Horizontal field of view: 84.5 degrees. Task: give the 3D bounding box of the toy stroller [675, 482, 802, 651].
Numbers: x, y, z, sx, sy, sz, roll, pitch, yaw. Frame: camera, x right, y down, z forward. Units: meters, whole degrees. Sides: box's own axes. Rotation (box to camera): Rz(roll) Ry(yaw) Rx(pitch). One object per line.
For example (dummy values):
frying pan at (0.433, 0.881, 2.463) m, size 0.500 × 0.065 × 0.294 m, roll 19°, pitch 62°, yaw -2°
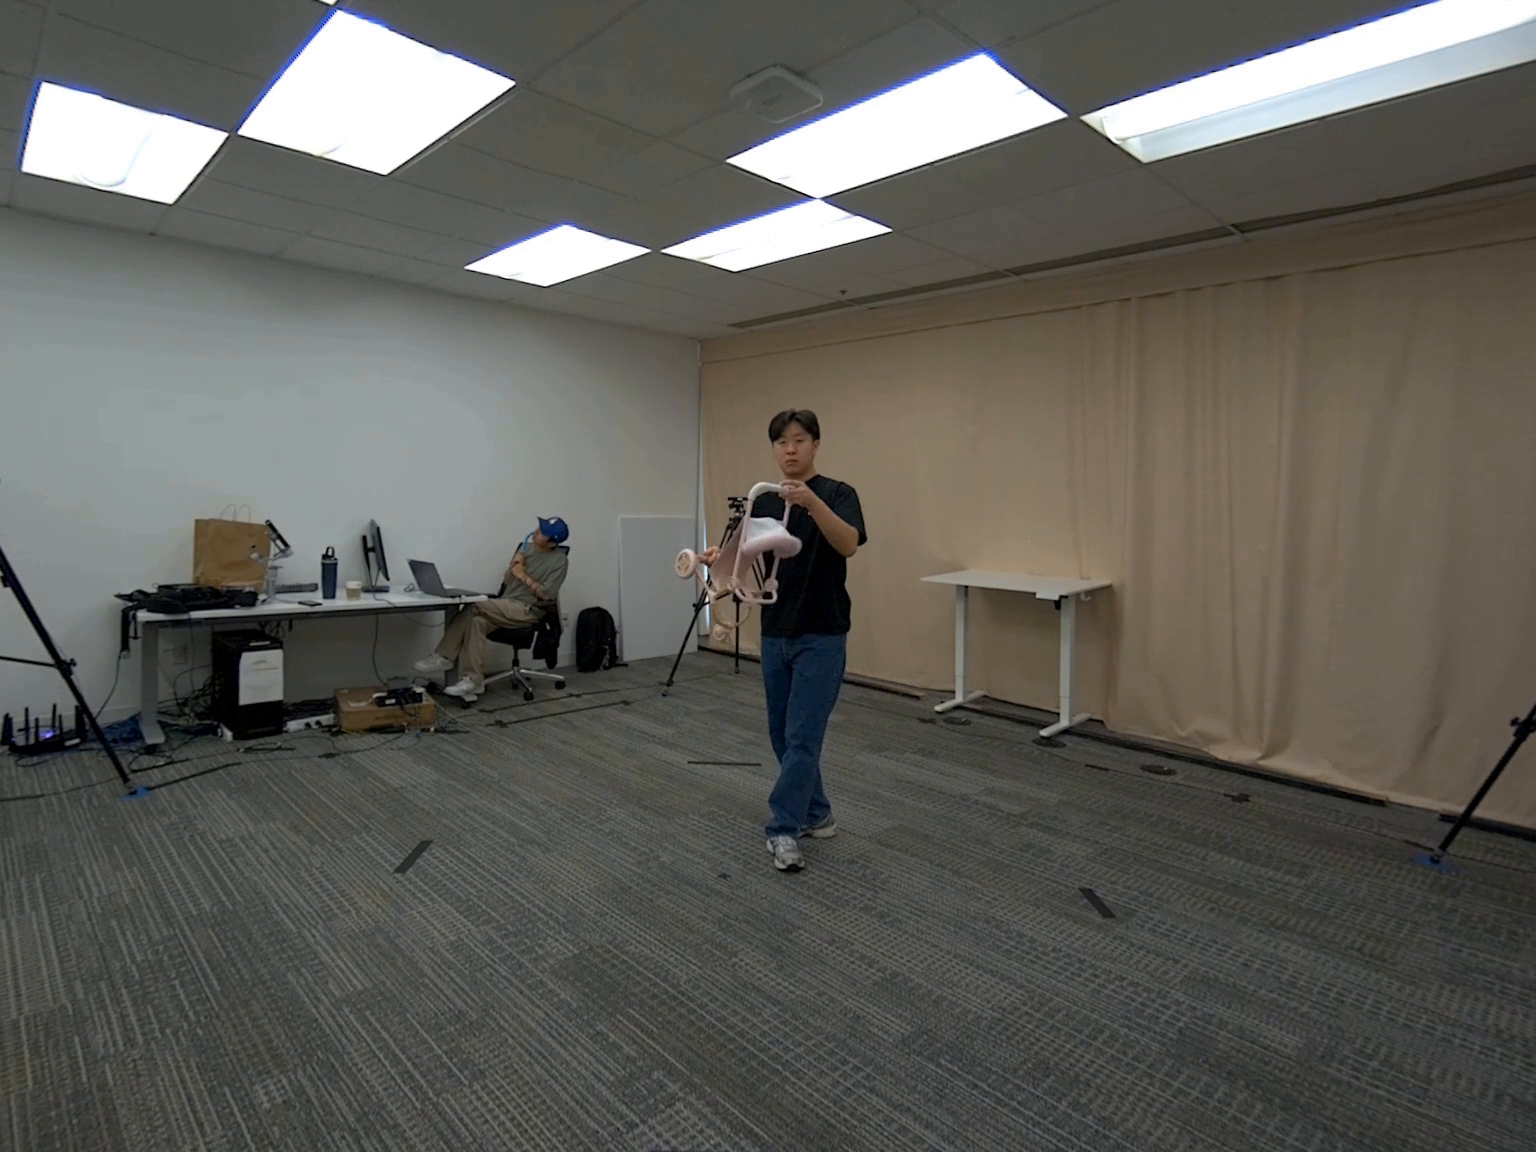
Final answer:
toy stroller at (-0.091, -0.032, 3.006) m, size 0.274 × 0.350 × 0.536 m, roll 11°, pitch -43°, yaw -42°
